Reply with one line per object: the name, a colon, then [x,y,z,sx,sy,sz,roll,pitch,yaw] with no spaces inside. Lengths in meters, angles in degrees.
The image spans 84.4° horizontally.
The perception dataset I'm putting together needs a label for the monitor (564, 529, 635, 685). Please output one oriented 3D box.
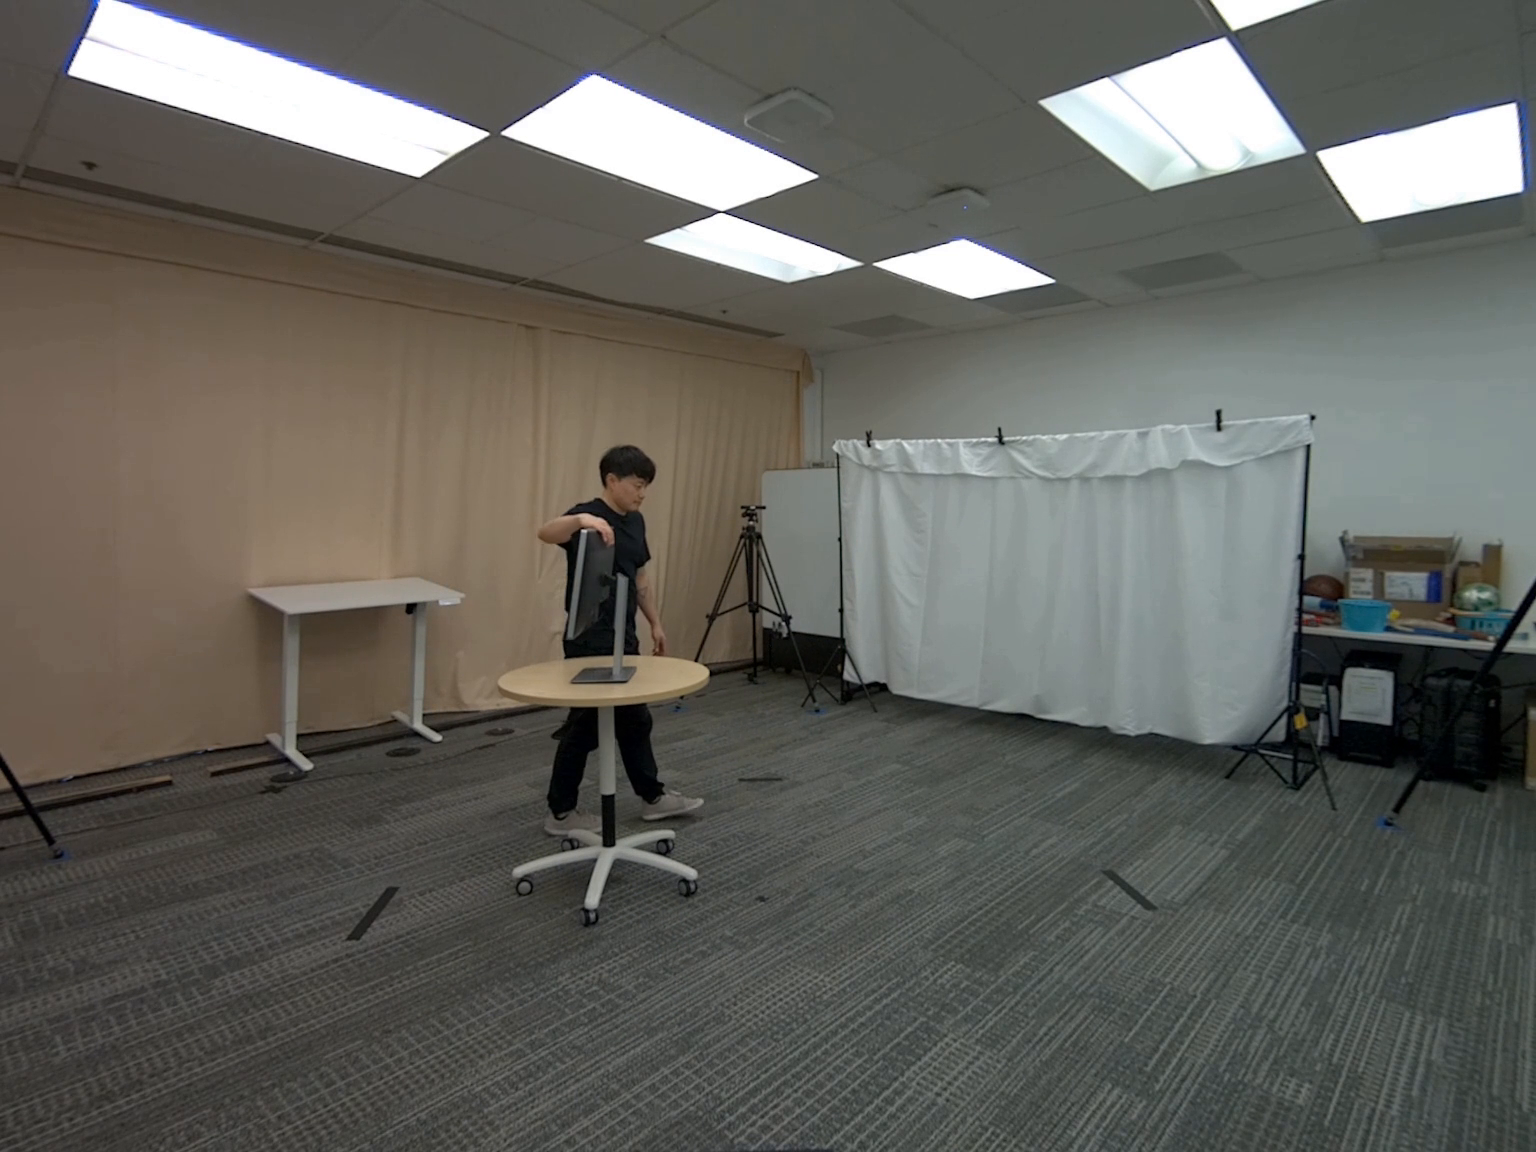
monitor: [-0.591,0.105,3.029,0.187,0.521,0.540,-3,4,-2]
